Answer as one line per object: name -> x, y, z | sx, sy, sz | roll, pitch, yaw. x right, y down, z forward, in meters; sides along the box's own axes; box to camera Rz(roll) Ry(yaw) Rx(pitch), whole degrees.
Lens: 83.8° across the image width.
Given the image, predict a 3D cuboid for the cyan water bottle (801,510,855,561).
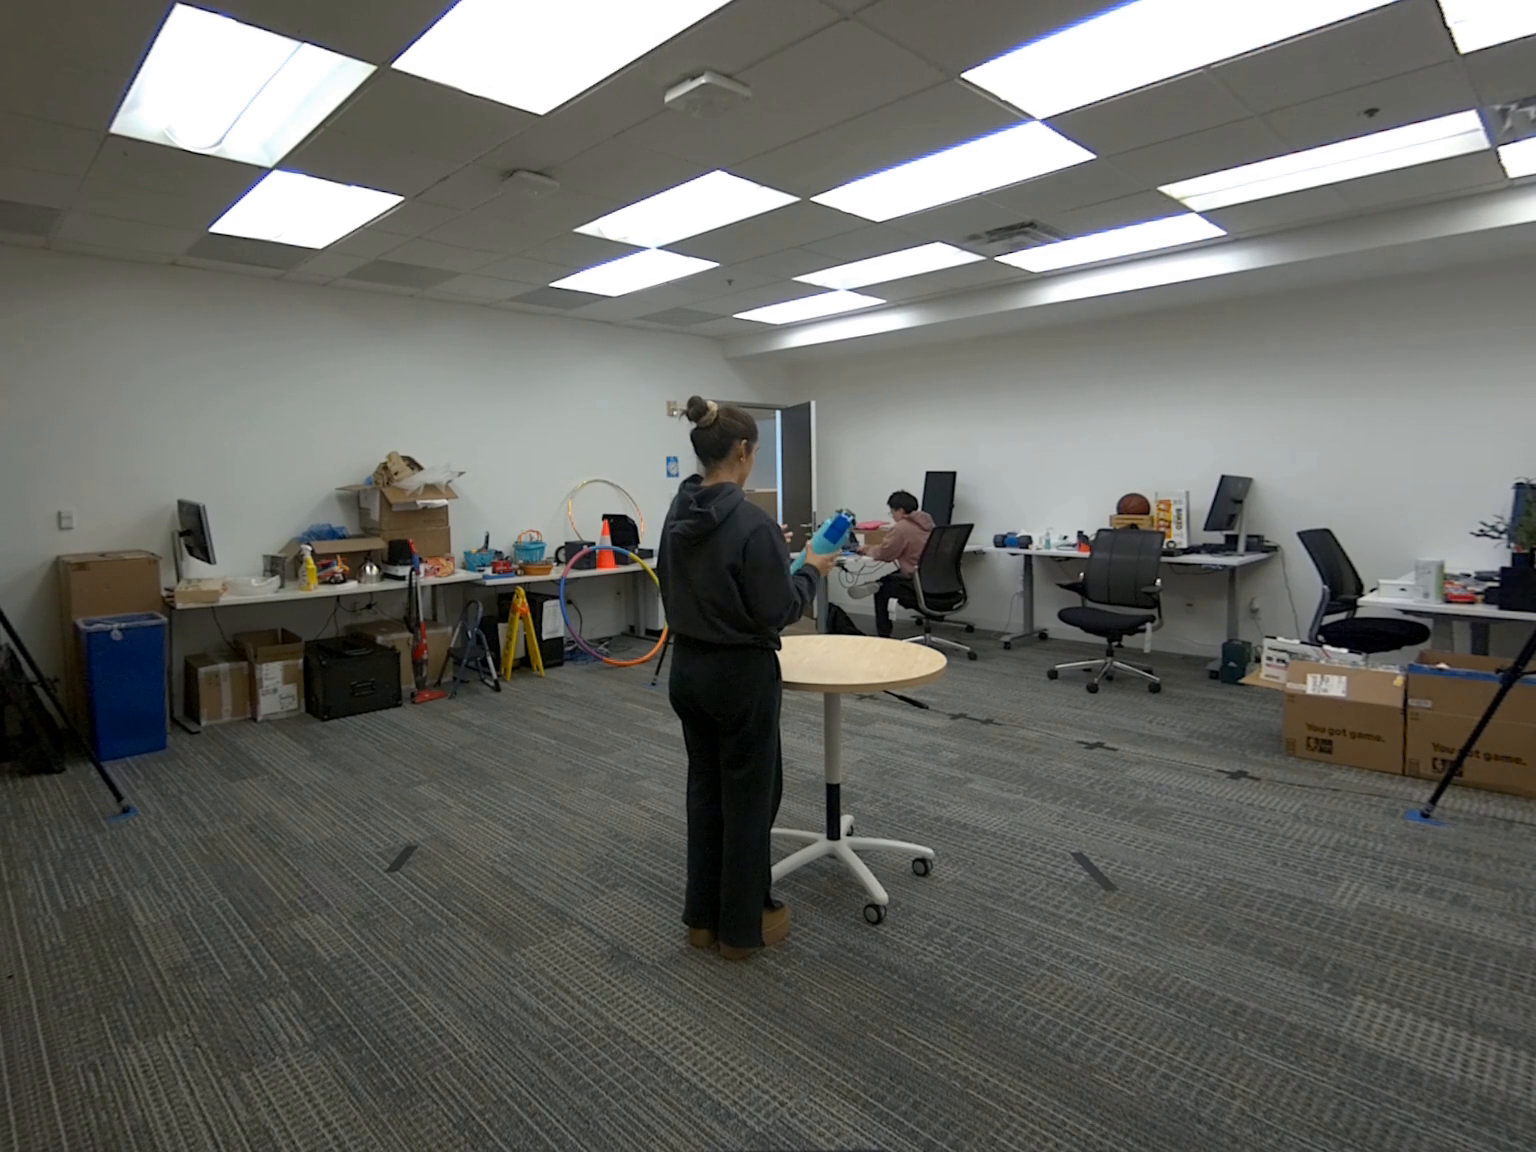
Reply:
cyan water bottle -> 0.165, -0.088, 2.614 | 0.092, 0.283, 0.093 | 36, 5, -6
